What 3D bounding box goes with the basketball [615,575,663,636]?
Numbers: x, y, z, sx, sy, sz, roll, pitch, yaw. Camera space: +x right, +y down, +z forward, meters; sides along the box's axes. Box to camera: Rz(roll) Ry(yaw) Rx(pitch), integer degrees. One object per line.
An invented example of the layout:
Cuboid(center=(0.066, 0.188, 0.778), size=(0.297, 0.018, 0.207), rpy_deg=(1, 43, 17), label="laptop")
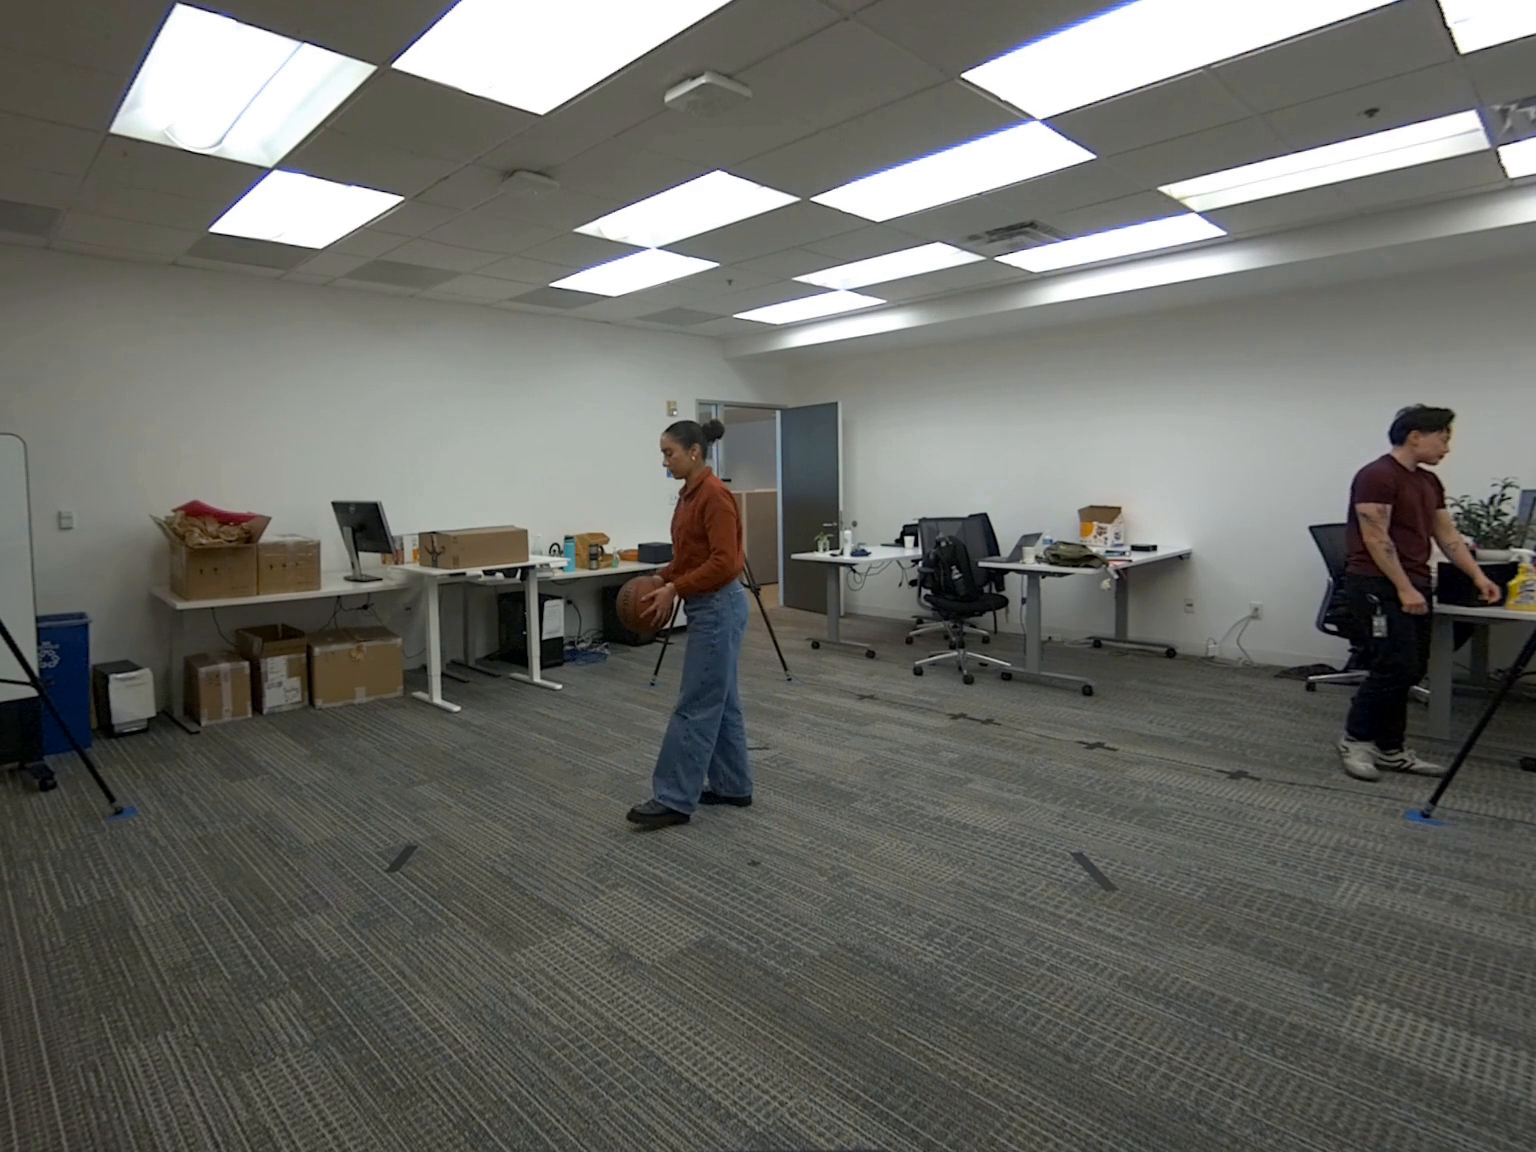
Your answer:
Cuboid(center=(-0.503, 0.111, 3.487), size=(0.236, 0.235, 0.237), rpy_deg=(-1, 5, -2), label="basketball")
